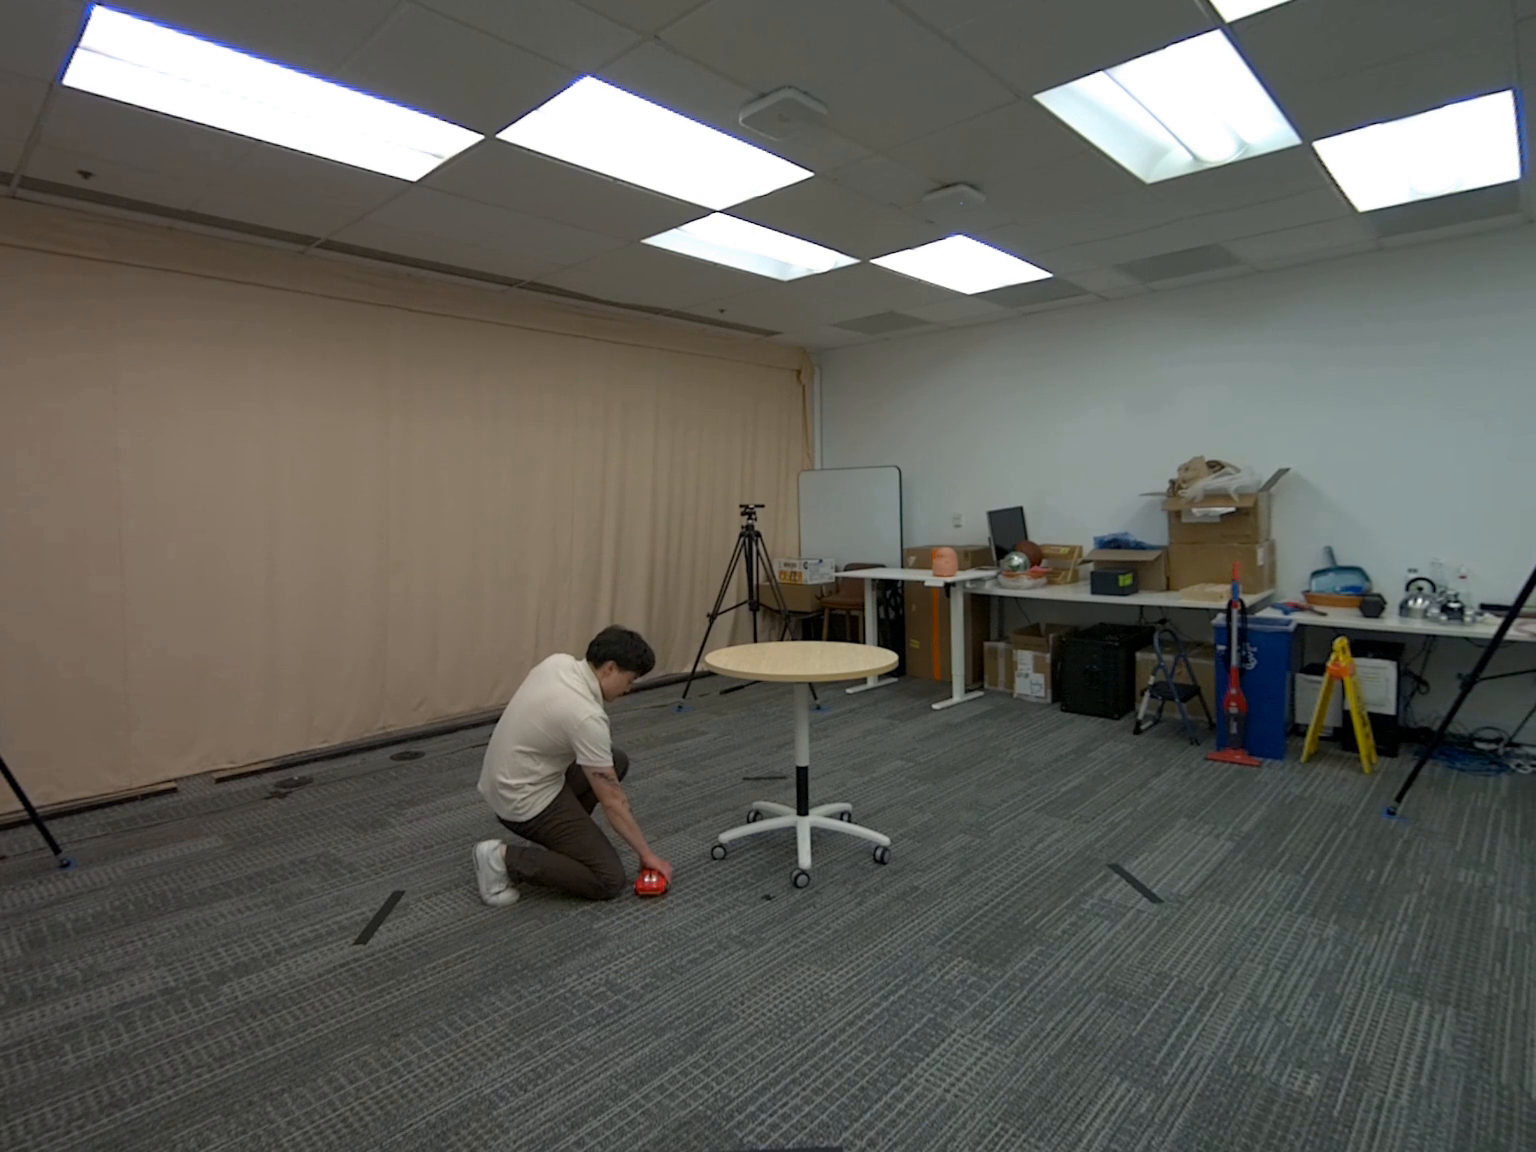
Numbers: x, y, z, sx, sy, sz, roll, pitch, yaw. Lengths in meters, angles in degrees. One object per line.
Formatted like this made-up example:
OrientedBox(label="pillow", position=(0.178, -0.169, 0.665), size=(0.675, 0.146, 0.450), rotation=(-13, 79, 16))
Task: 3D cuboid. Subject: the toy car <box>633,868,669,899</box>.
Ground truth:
OrientedBox(label="toy car", position=(-0.430, 1.117, 3.081), size=(0.130, 0.083, 0.253), rotation=(0, -4, 0))
